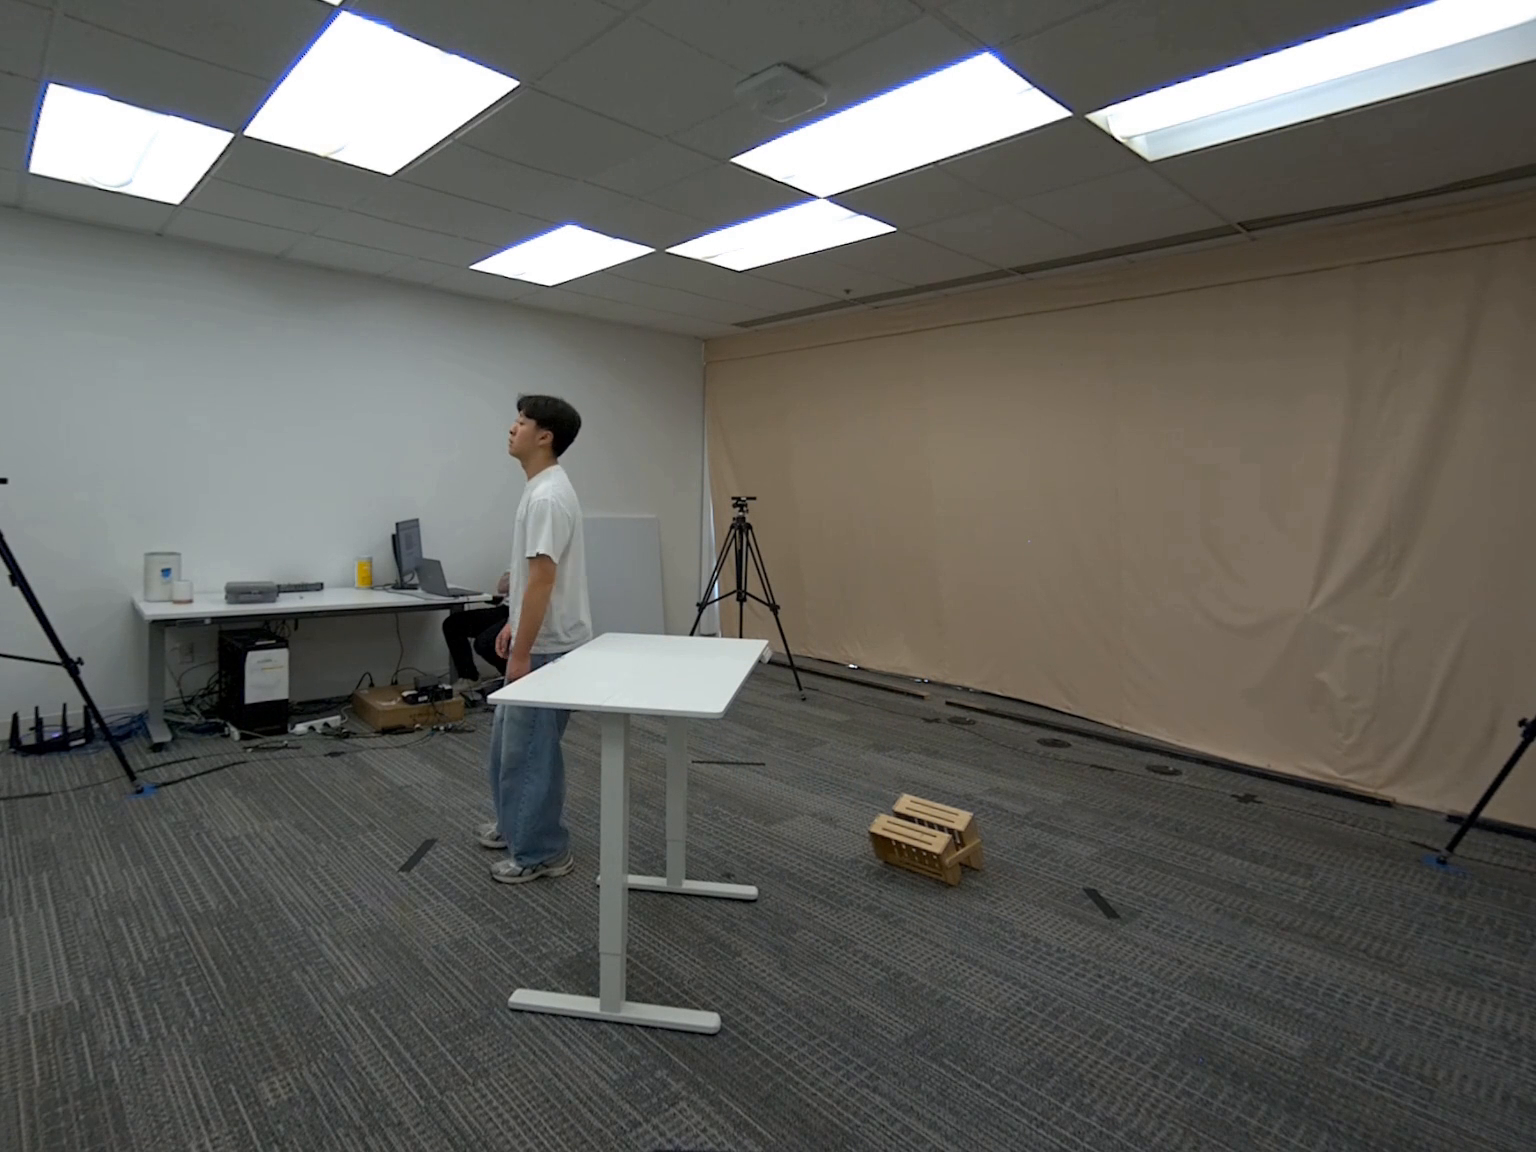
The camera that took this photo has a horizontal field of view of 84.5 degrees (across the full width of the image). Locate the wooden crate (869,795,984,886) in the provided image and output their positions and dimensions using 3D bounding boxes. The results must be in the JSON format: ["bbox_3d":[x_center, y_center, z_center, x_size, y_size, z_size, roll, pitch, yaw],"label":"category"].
[{"bbox_3d":[0.593,1.027,3.192,0.332,0.296,0.272,5,33,40],"label":"wooden crate"}]
